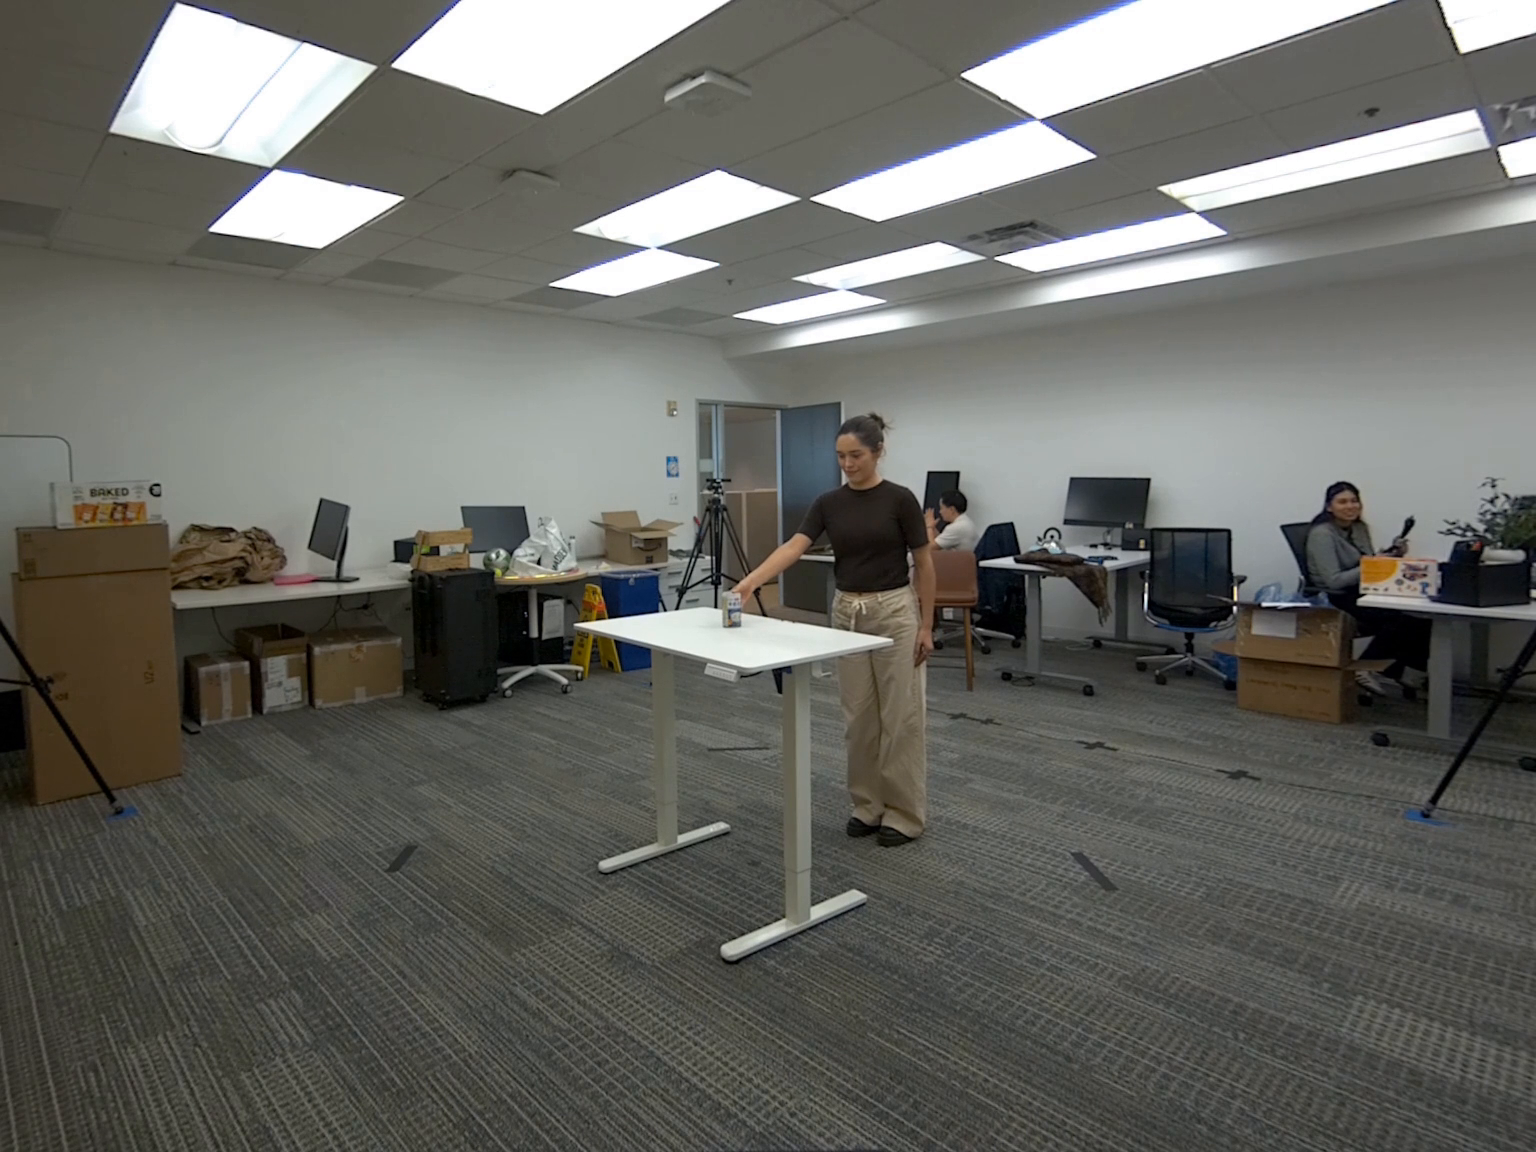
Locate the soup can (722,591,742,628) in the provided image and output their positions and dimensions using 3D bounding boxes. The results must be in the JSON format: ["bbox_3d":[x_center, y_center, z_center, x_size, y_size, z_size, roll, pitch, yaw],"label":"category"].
[{"bbox_3d":[-0.122,0.117,2.978,0.067,0.121,0.067,1,5,-2],"label":"soup can"}]
